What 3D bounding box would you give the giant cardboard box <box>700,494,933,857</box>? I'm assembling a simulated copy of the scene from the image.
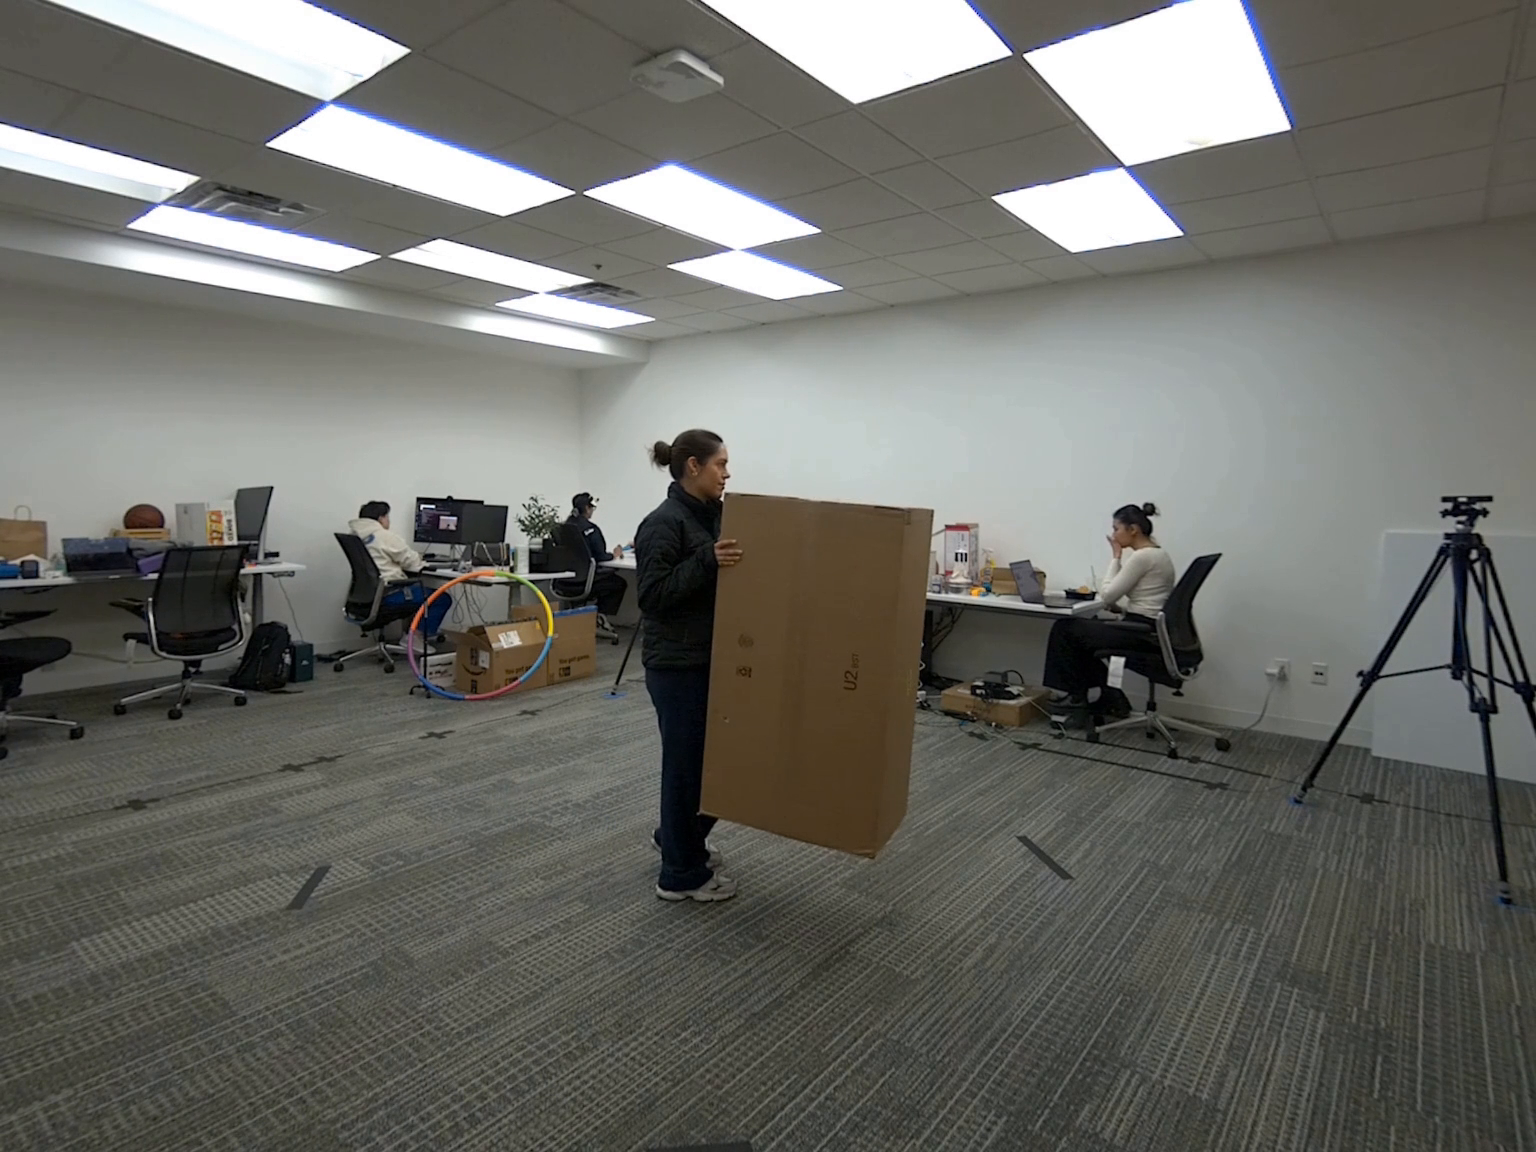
[{"bbox_3d":[0.178,0.270,2.758,0.593,1.023,0.416,6,4,24],"label":"giant cardboard box"}]
